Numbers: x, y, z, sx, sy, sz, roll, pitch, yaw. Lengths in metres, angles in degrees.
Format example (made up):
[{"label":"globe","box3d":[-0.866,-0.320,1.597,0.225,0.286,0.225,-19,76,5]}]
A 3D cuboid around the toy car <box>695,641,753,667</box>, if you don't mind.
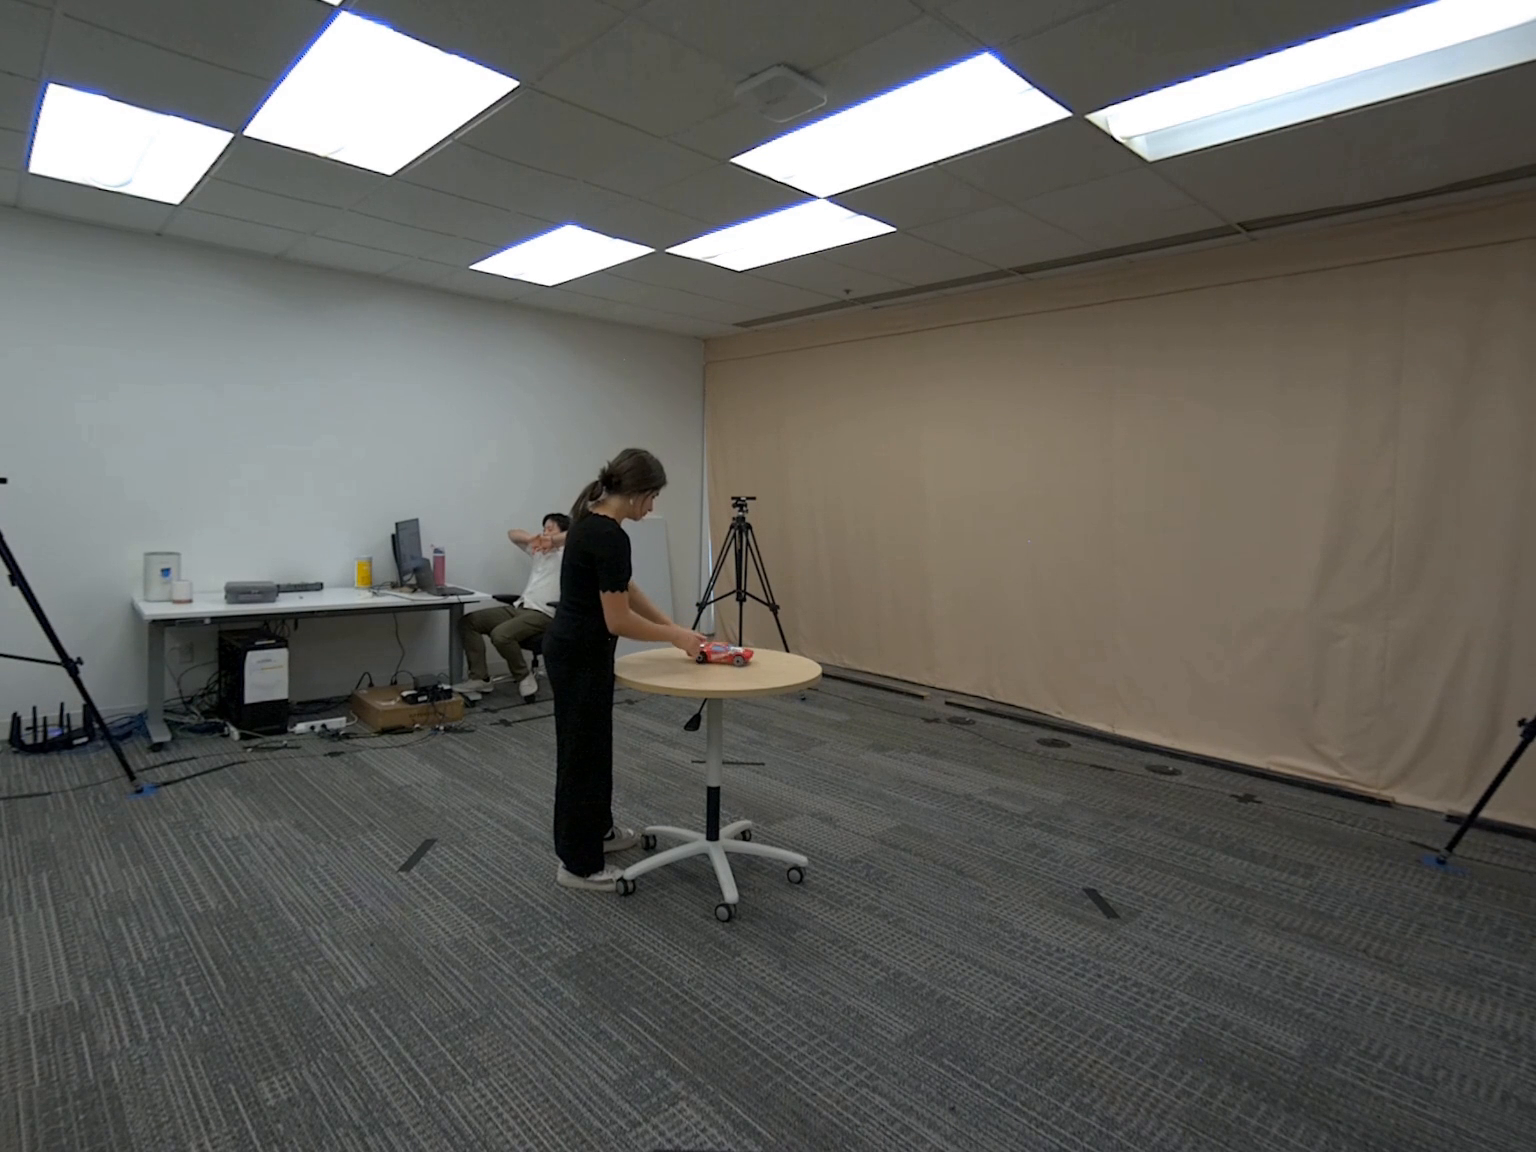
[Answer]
[{"label":"toy car","box3d":[-0.197,0.288,3.108,0.258,0.083,0.129,14,8,15]}]
